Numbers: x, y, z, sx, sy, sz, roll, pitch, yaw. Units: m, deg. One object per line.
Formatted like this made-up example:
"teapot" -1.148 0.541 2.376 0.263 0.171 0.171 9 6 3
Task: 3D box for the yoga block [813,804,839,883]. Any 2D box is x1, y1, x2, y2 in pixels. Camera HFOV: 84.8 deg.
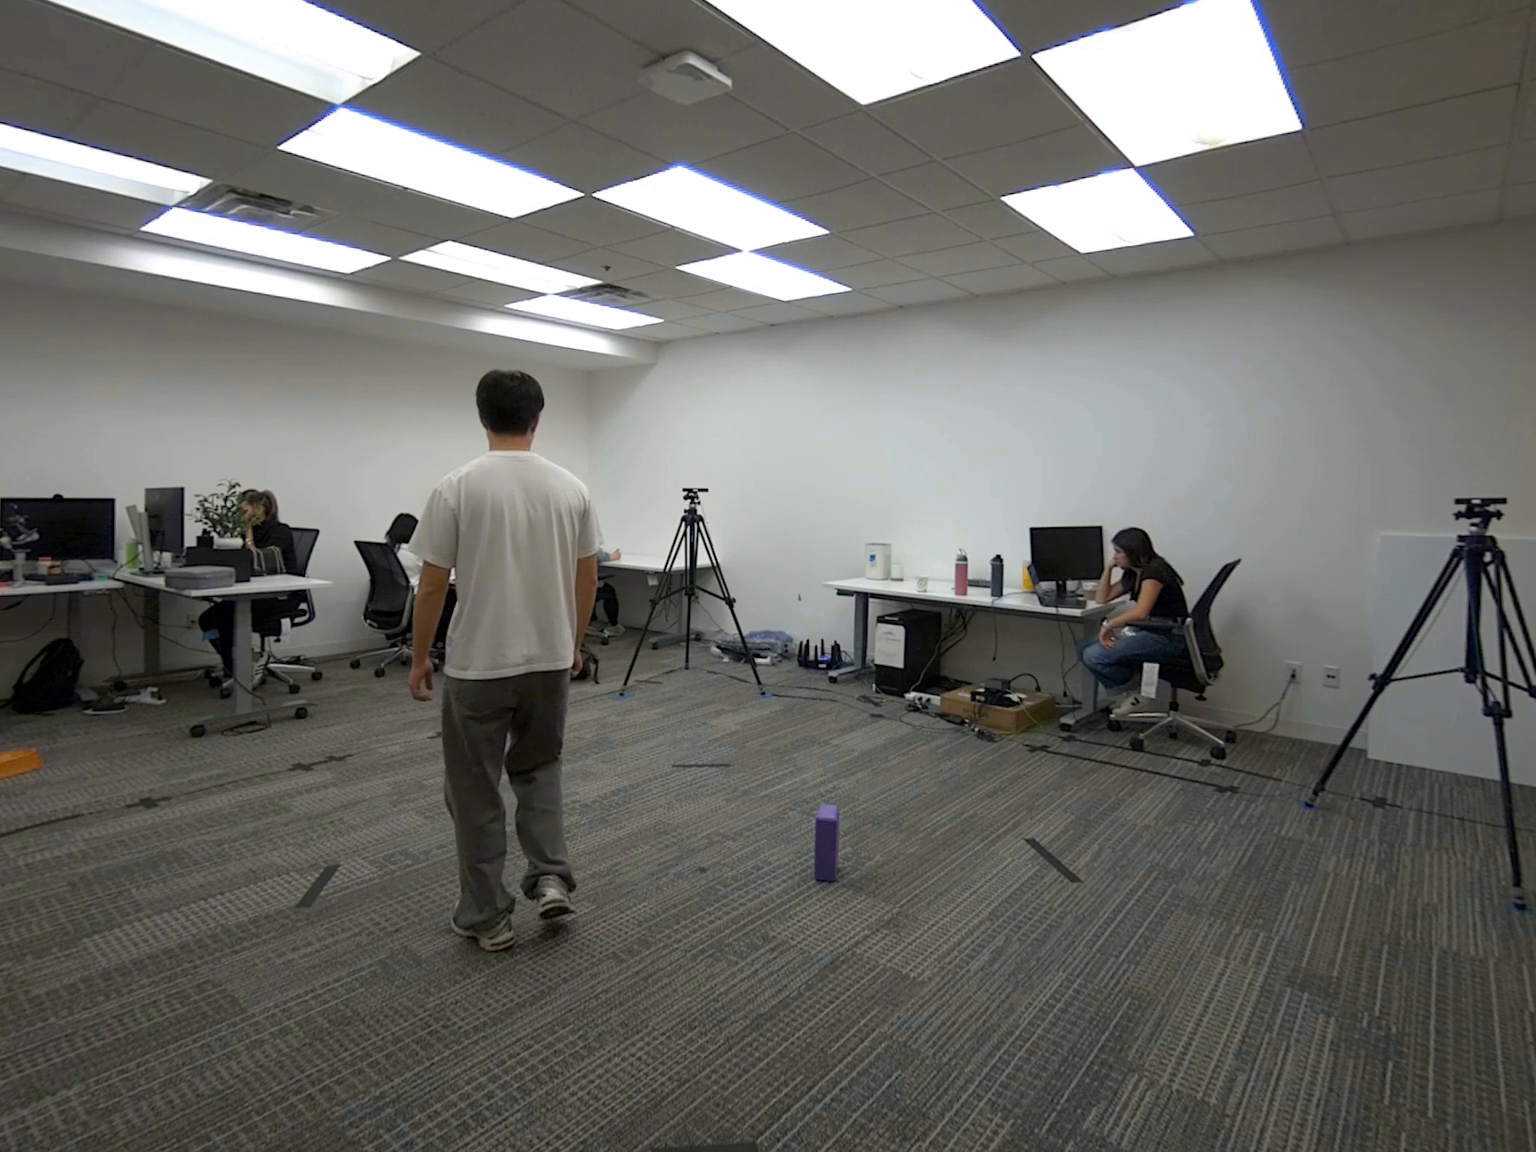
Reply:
"yoga block" 0.216 0.959 3.096 0.077 0.229 0.148 1 4 9
